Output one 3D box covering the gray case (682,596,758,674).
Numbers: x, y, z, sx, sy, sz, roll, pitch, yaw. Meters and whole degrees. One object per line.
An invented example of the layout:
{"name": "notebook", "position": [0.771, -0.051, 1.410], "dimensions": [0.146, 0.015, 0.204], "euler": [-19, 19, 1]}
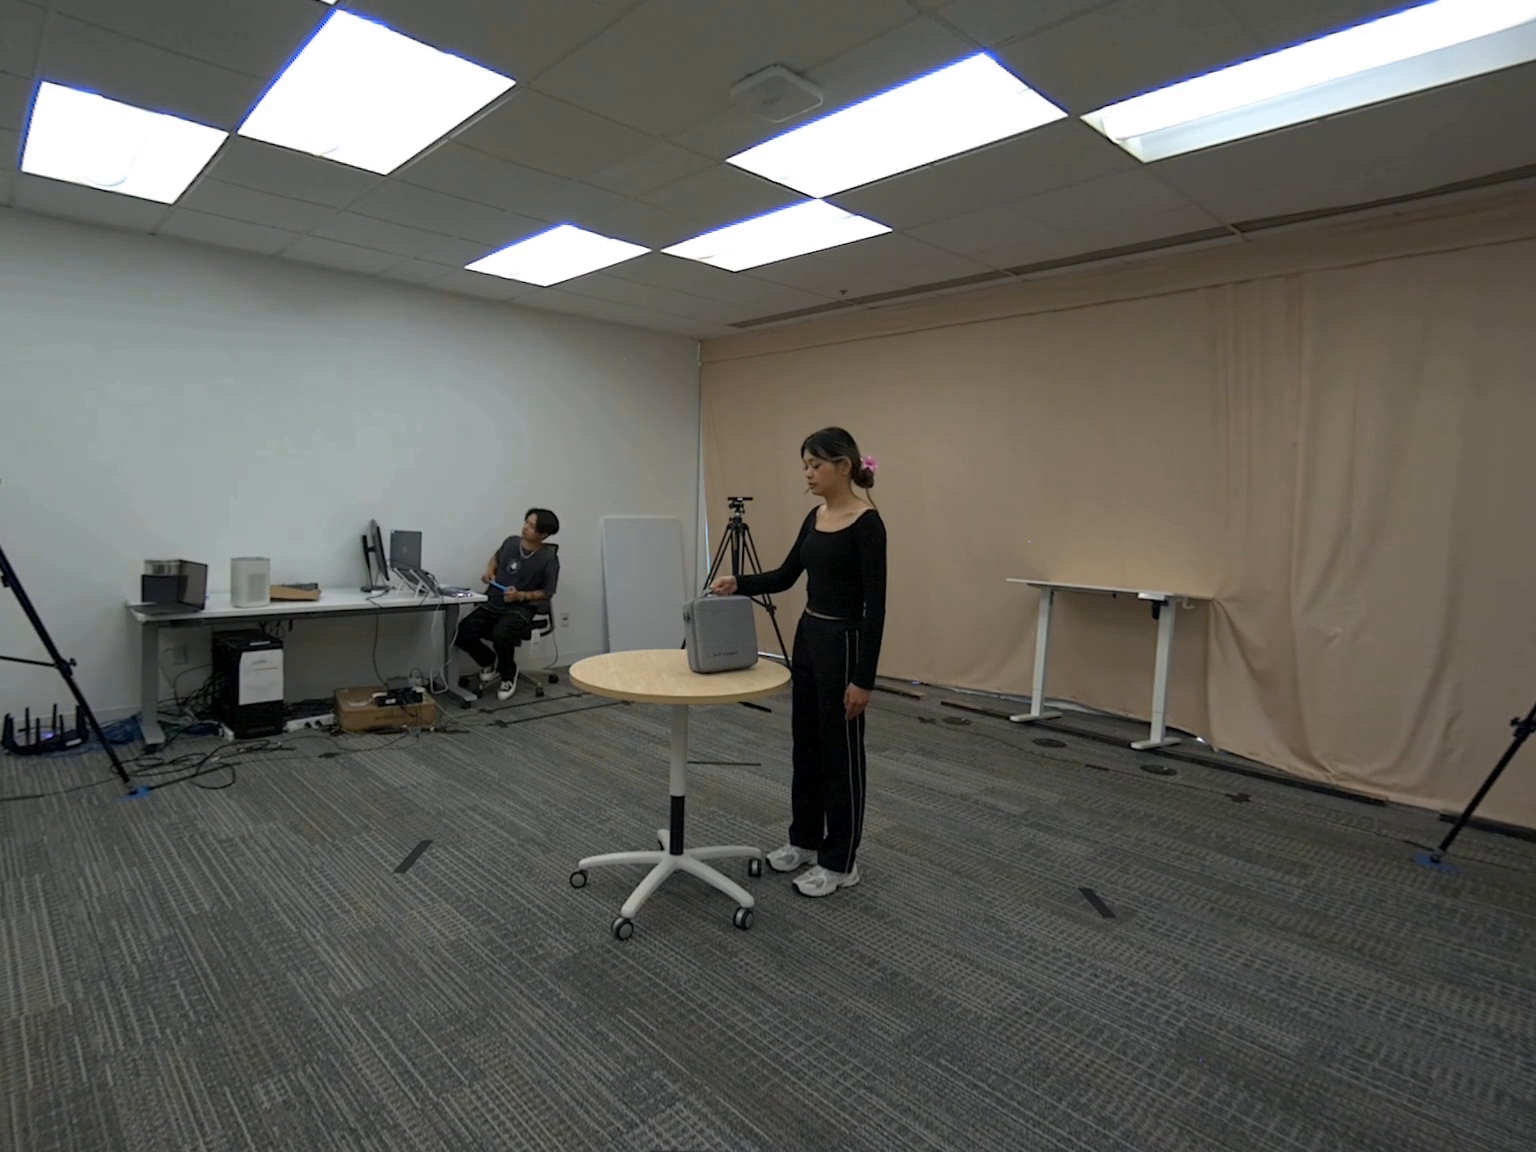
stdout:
{"name": "gray case", "position": [-0.169, 0.199, 2.948], "dimensions": [0.251, 0.262, 0.106], "euler": [-1, -7, -36]}
